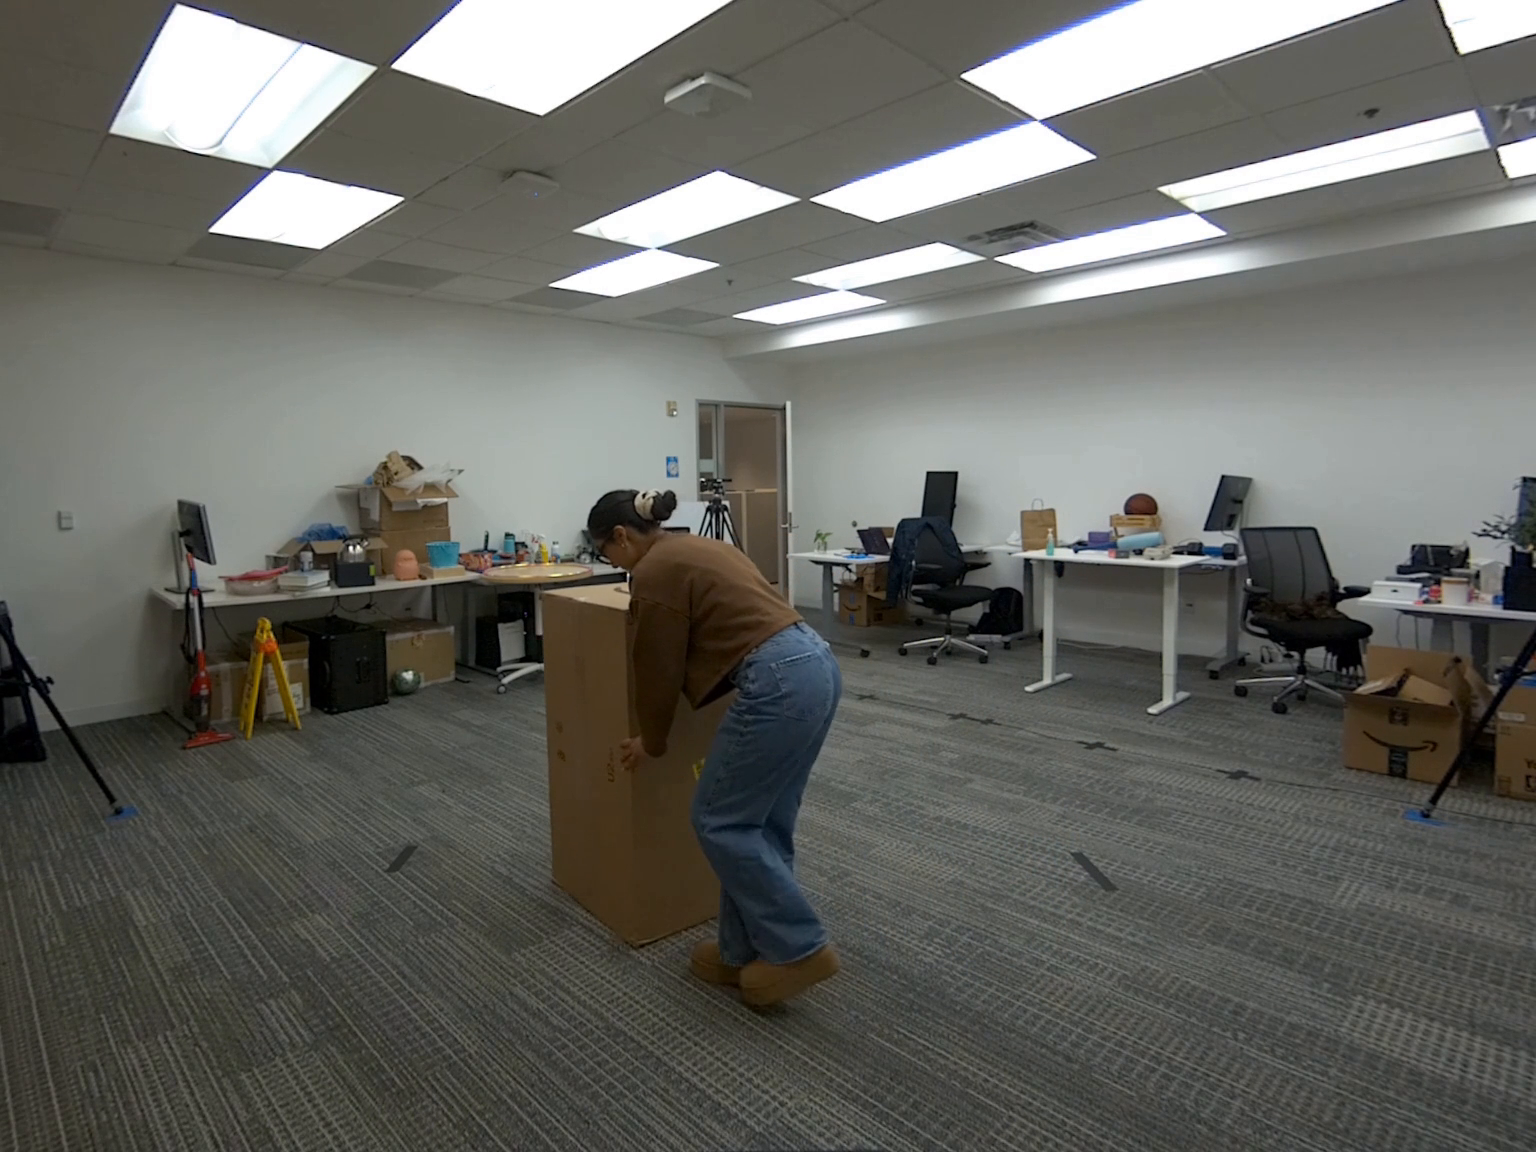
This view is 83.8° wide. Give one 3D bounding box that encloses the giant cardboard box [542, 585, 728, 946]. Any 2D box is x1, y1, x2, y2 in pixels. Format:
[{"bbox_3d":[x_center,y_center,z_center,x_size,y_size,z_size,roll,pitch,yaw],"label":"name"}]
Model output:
[{"bbox_3d":[-0.425,0.569,2.874,0.415,1.023,0.595,-4,4,-39],"label":"giant cardboard box"}]
